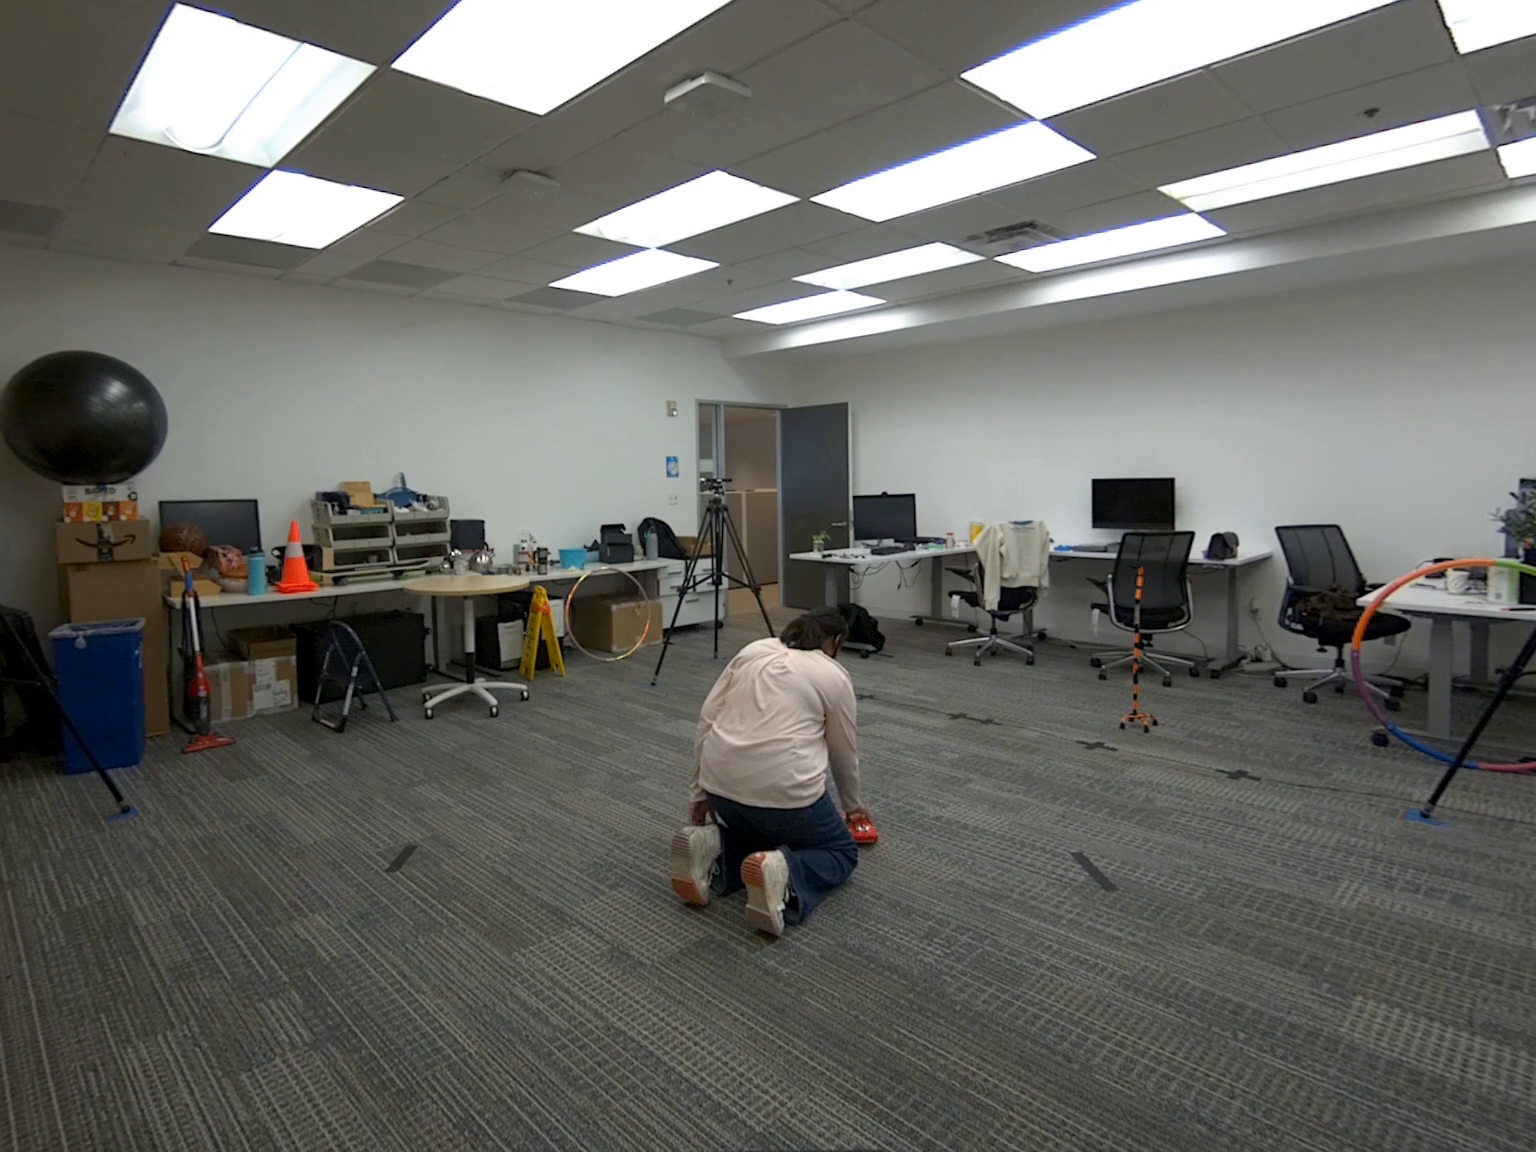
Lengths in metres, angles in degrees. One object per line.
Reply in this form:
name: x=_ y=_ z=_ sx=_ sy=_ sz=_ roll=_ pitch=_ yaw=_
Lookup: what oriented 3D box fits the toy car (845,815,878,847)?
toy car: x=0.359 y=0.983 z=3.319 sx=0.130 sy=0.083 sz=0.255 roll=0 pitch=-2 yaw=-6
